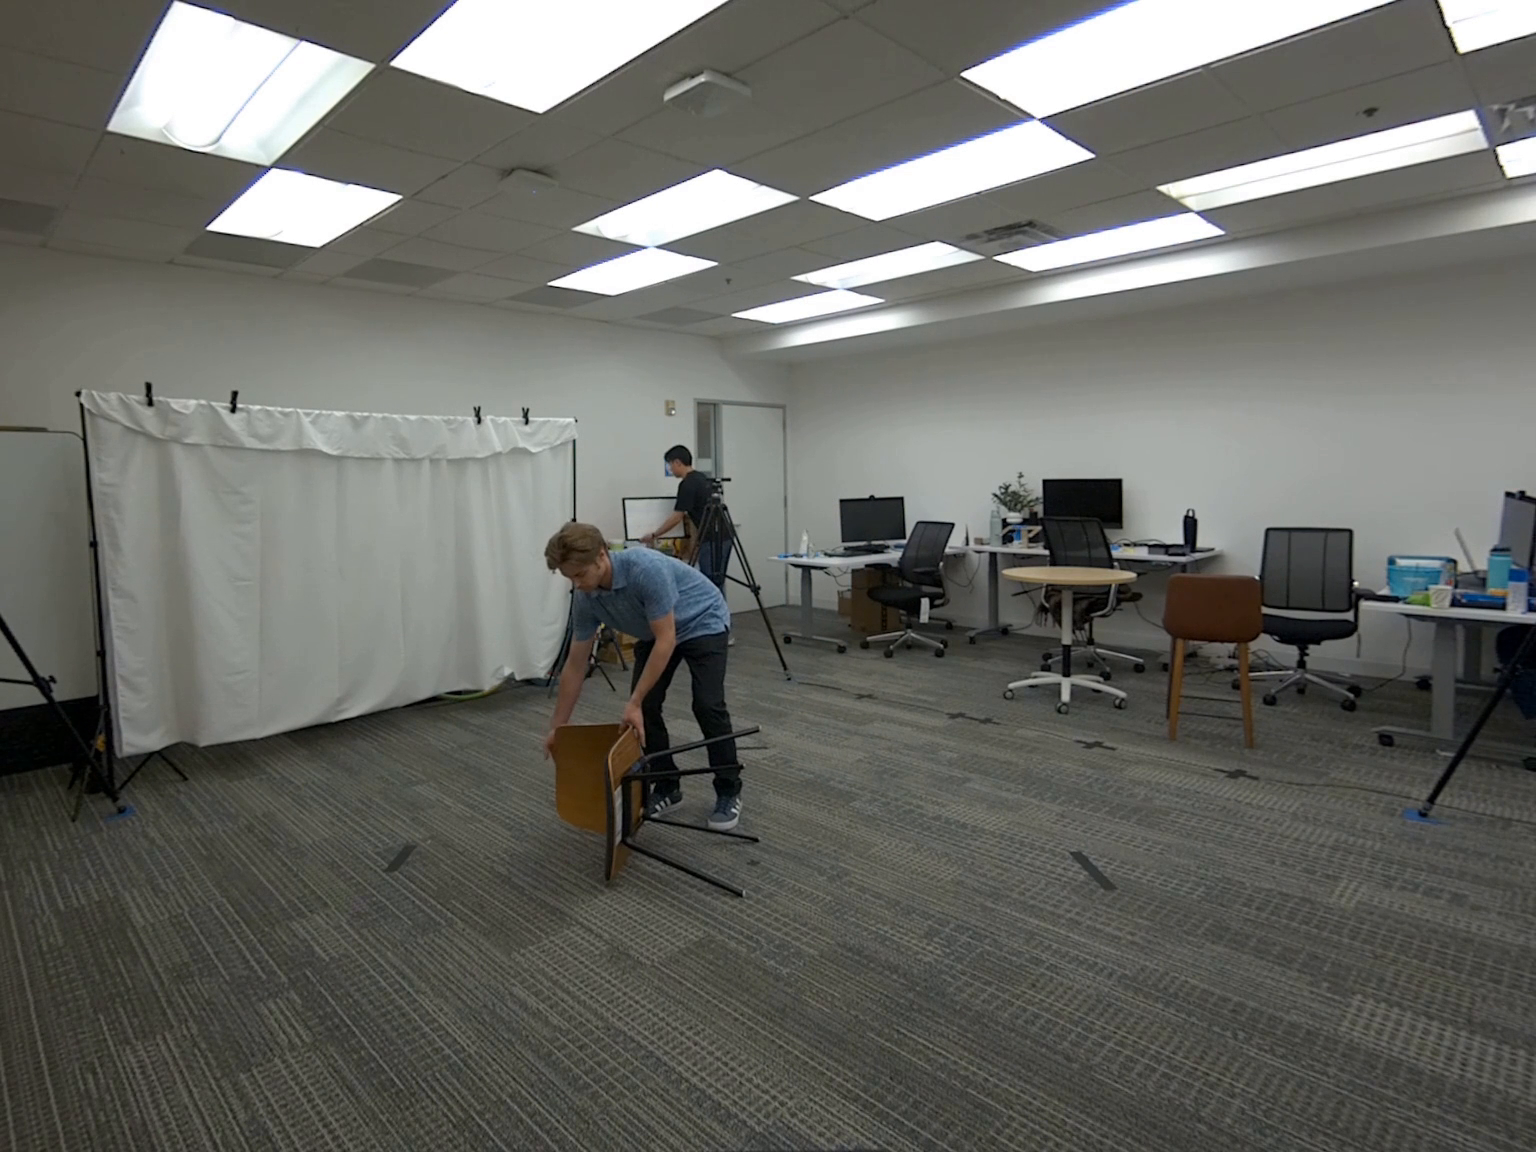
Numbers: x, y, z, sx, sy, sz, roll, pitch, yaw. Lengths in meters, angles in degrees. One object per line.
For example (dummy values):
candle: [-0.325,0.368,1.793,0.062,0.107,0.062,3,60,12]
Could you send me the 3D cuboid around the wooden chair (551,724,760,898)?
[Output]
wooden chair: [-0.482,0.816,3.123,0.889,0.476,0.519,1,6,13]
